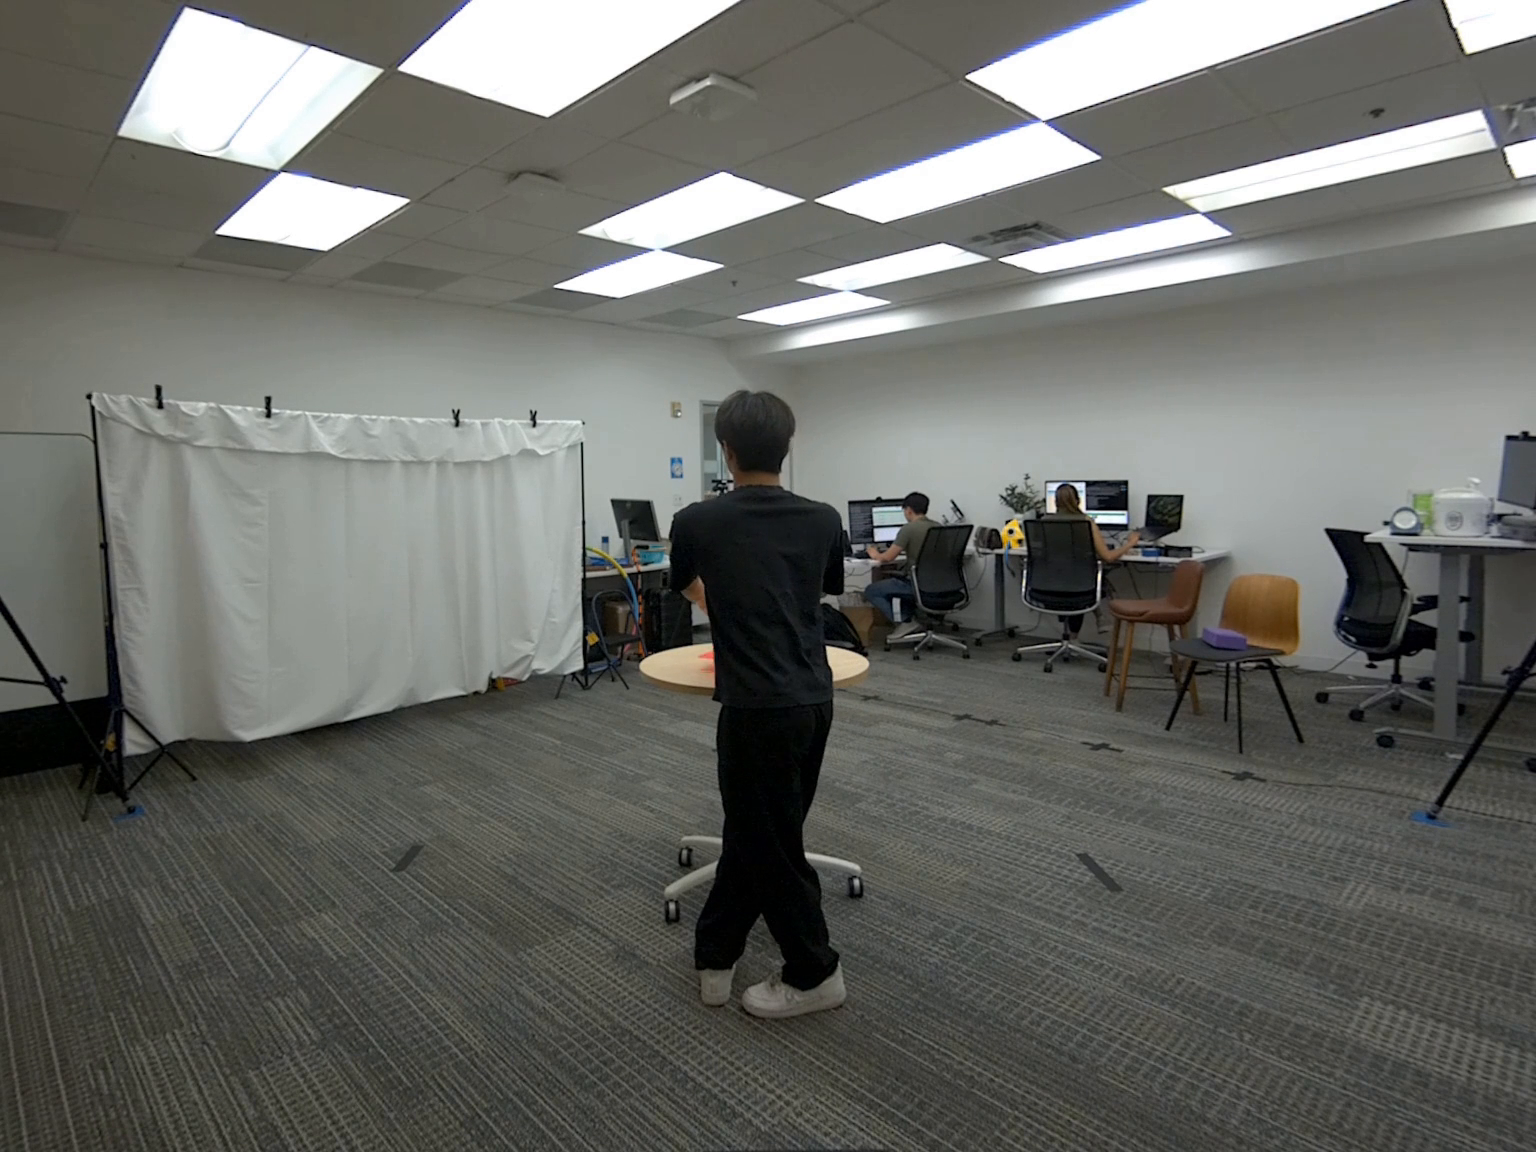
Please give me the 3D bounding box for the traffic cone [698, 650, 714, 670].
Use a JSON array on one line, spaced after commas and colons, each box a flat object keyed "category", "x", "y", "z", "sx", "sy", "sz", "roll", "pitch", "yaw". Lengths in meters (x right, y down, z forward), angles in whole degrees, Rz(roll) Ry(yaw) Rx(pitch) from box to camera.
[{"category": "traffic cone", "x": -0.099, "y": 0.064, "z": 2.783, "sx": 0.210, "sy": 0.383, "sz": 0.198, "roll": 0, "pitch": 3, "yaw": 31}]
